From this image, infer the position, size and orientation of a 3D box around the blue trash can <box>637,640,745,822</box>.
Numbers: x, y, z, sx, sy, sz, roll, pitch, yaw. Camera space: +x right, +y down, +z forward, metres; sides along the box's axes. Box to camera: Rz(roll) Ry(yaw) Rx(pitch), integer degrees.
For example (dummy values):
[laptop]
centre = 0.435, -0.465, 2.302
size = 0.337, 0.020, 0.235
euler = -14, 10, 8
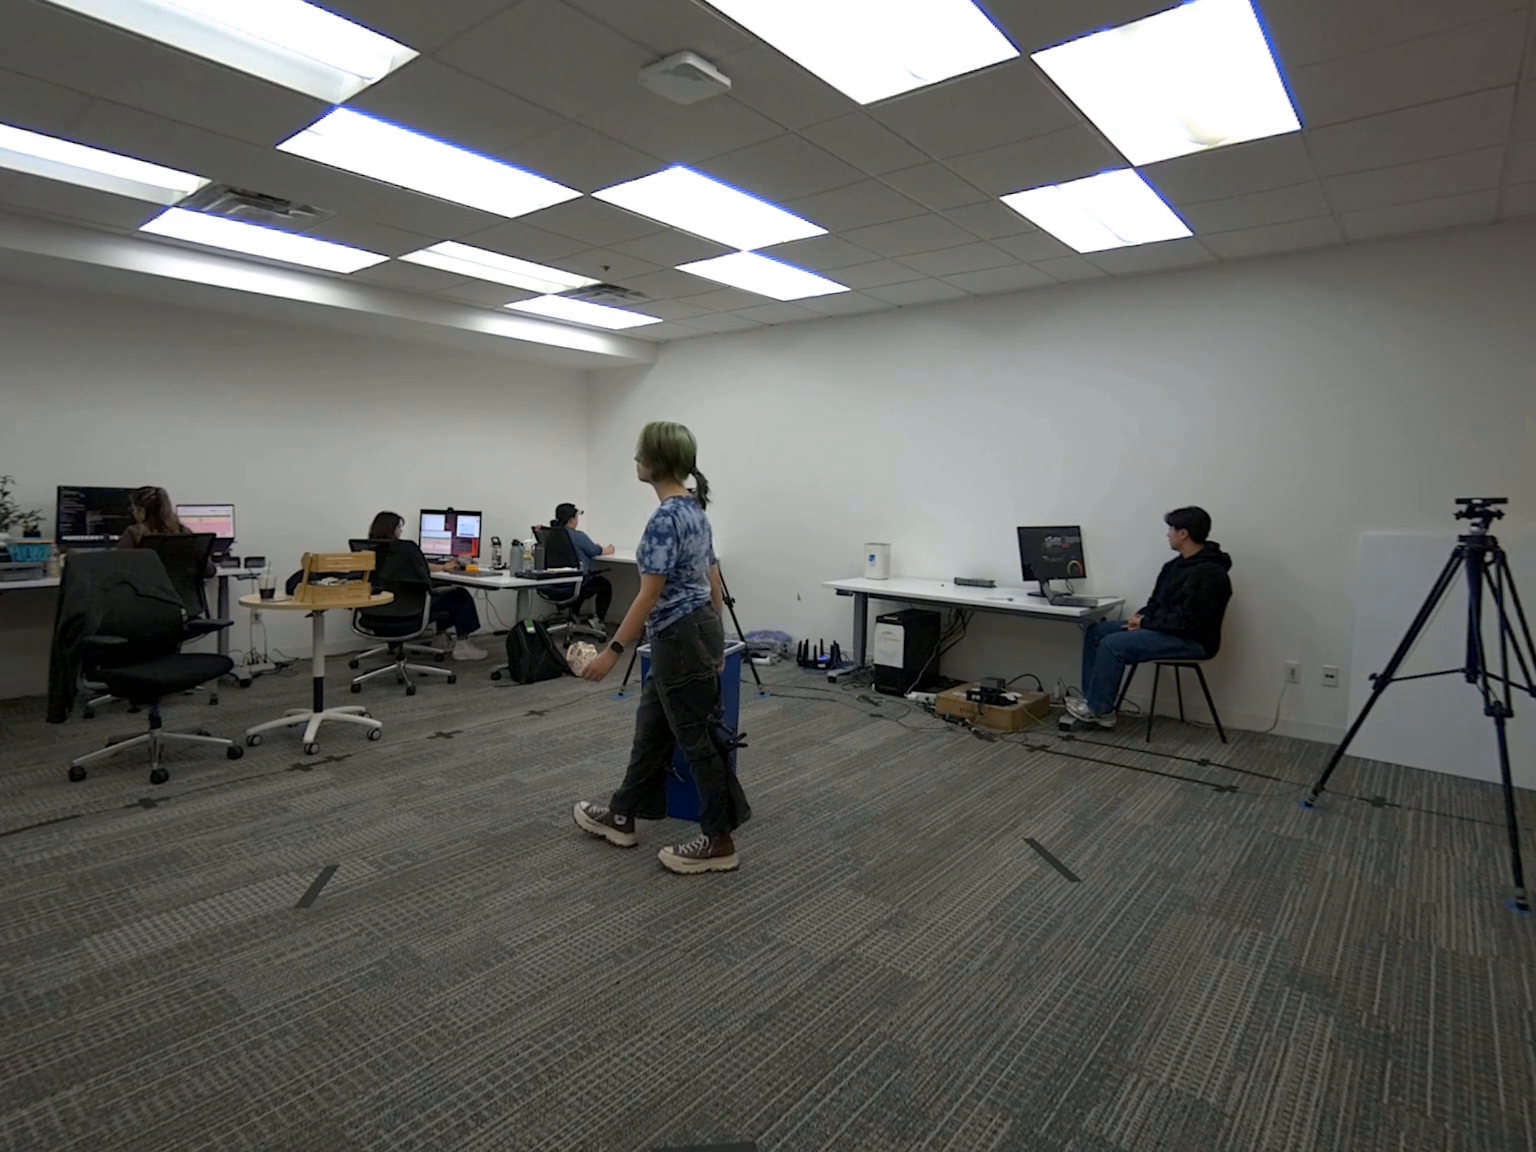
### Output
[blue trash can]
centre = -0.341, 0.650, 3.703
size = 0.387, 0.712, 0.366
euler = 2, 3, 23
